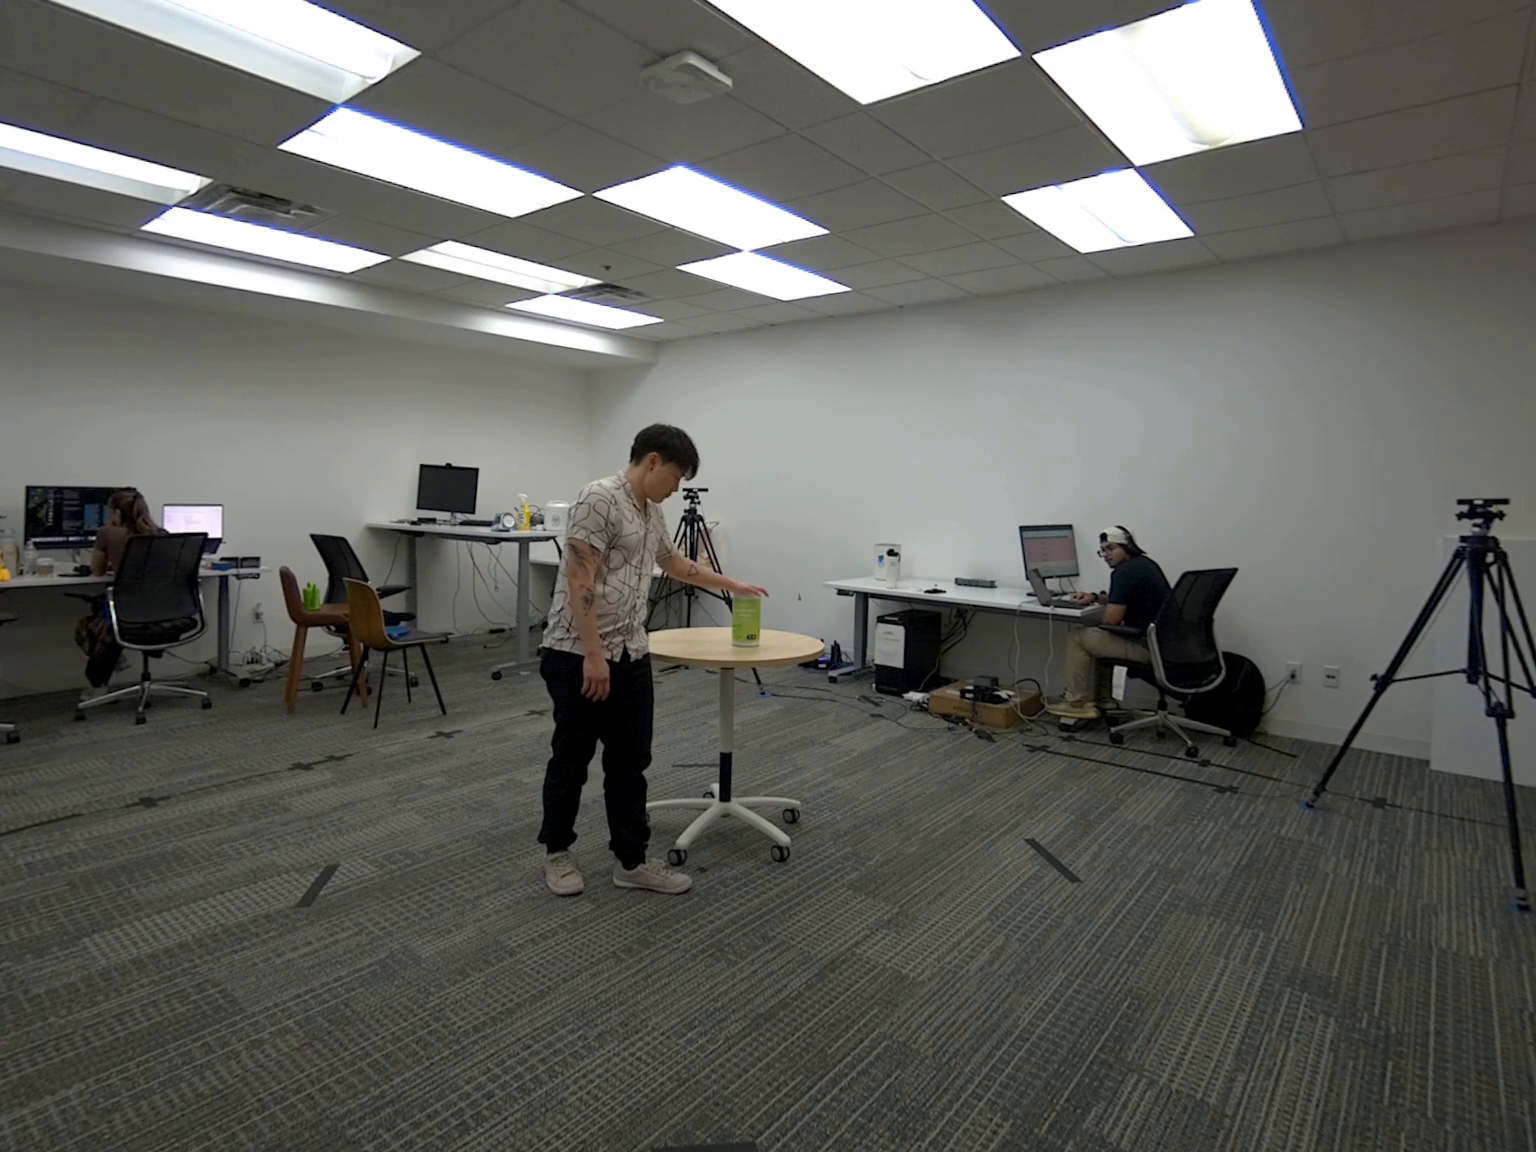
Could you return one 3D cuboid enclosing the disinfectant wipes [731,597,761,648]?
[{"bbox_3d":[-0.096,0.164,3.341,0.118,0.217,0.118,1,4,-2],"label":"disinfectant wipes"}]
